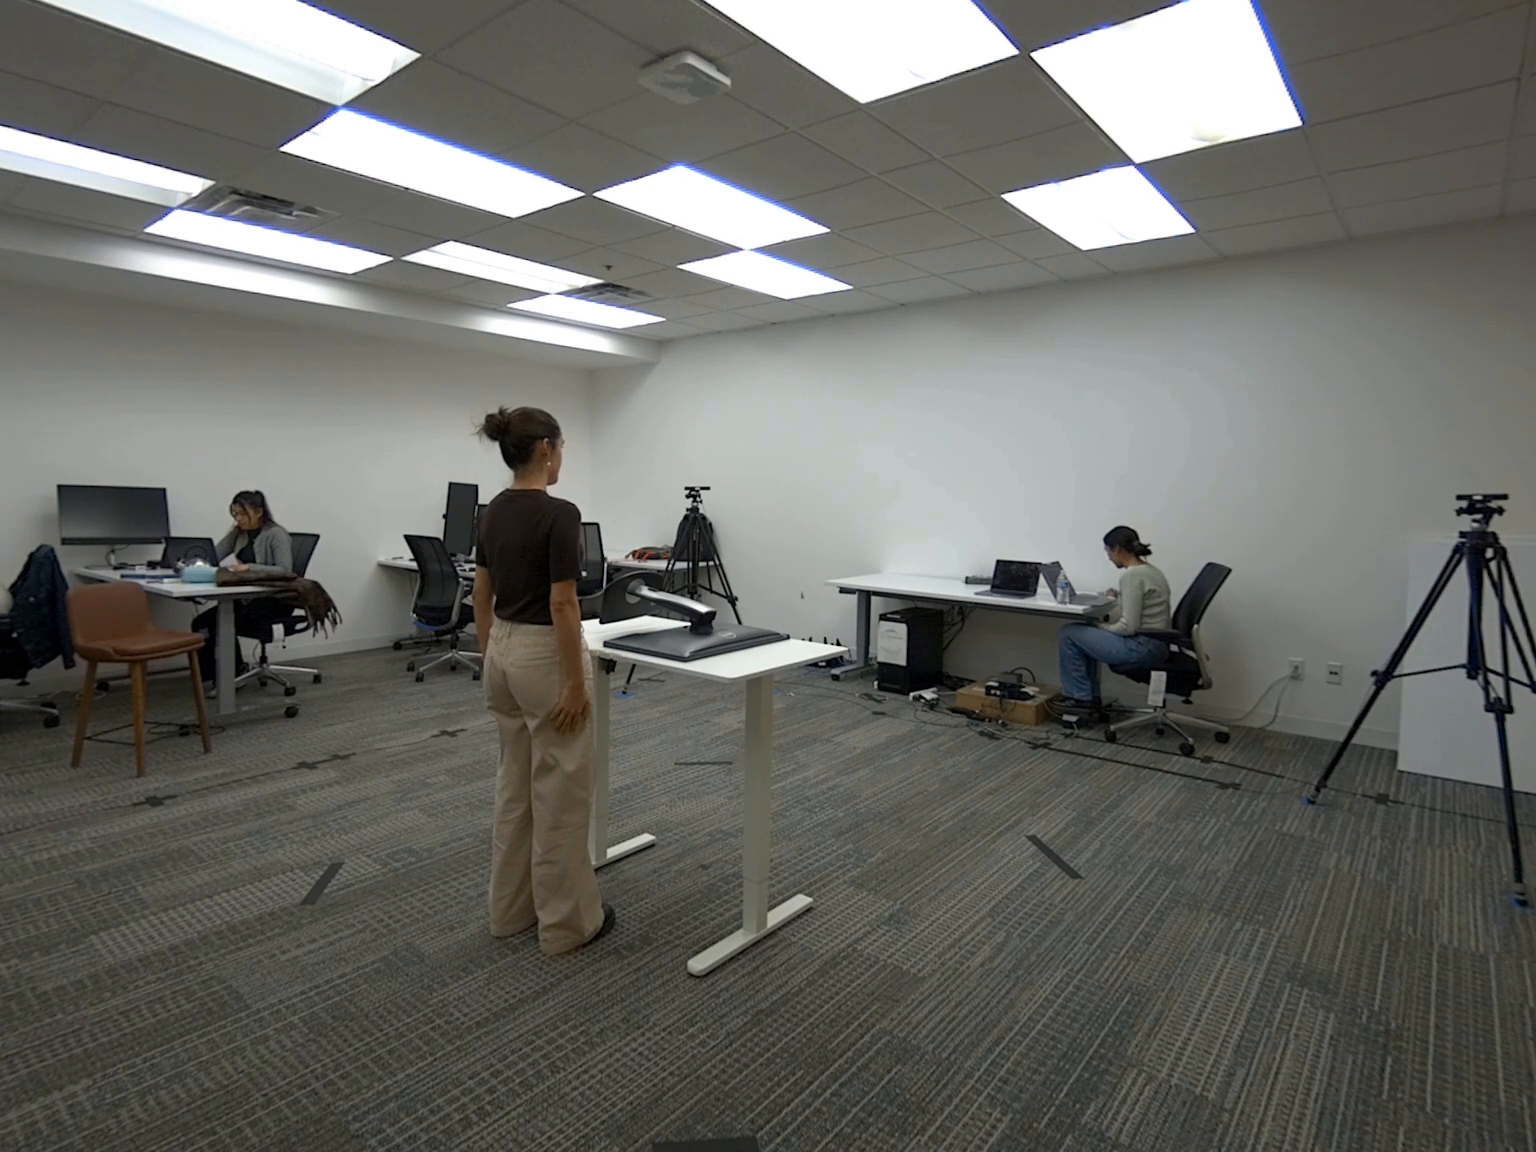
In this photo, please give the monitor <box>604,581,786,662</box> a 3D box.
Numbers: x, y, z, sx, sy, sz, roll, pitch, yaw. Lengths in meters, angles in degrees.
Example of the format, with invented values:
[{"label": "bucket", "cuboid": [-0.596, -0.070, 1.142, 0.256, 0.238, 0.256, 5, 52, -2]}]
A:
[{"label": "monitor", "cuboid": [-0.294, 0.152, 2.836, 0.543, 0.185, 0.524, 23, 21, 36]}]
